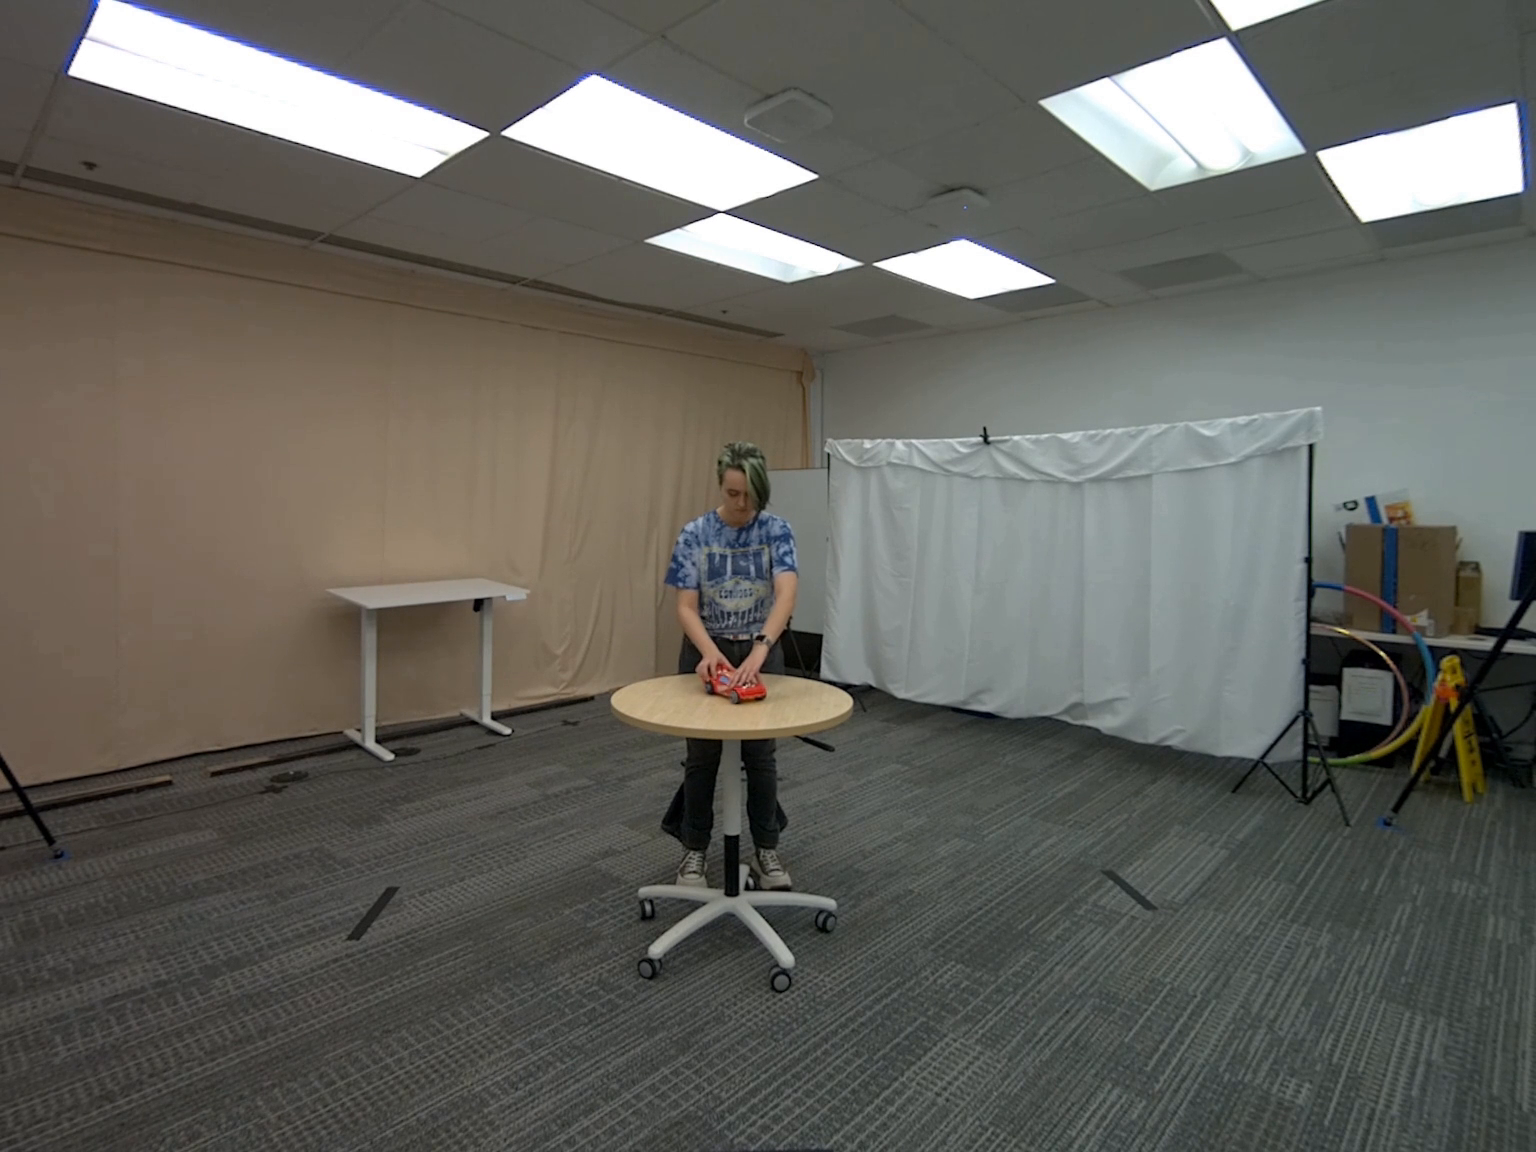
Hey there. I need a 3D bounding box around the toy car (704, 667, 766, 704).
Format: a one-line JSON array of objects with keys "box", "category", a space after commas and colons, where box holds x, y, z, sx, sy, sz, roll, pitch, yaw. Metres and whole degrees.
[{"box": [-0.115, 0.353, 2.704, 0.127, 0.082, 0.263, -4, 17, -32], "category": "toy car"}]
